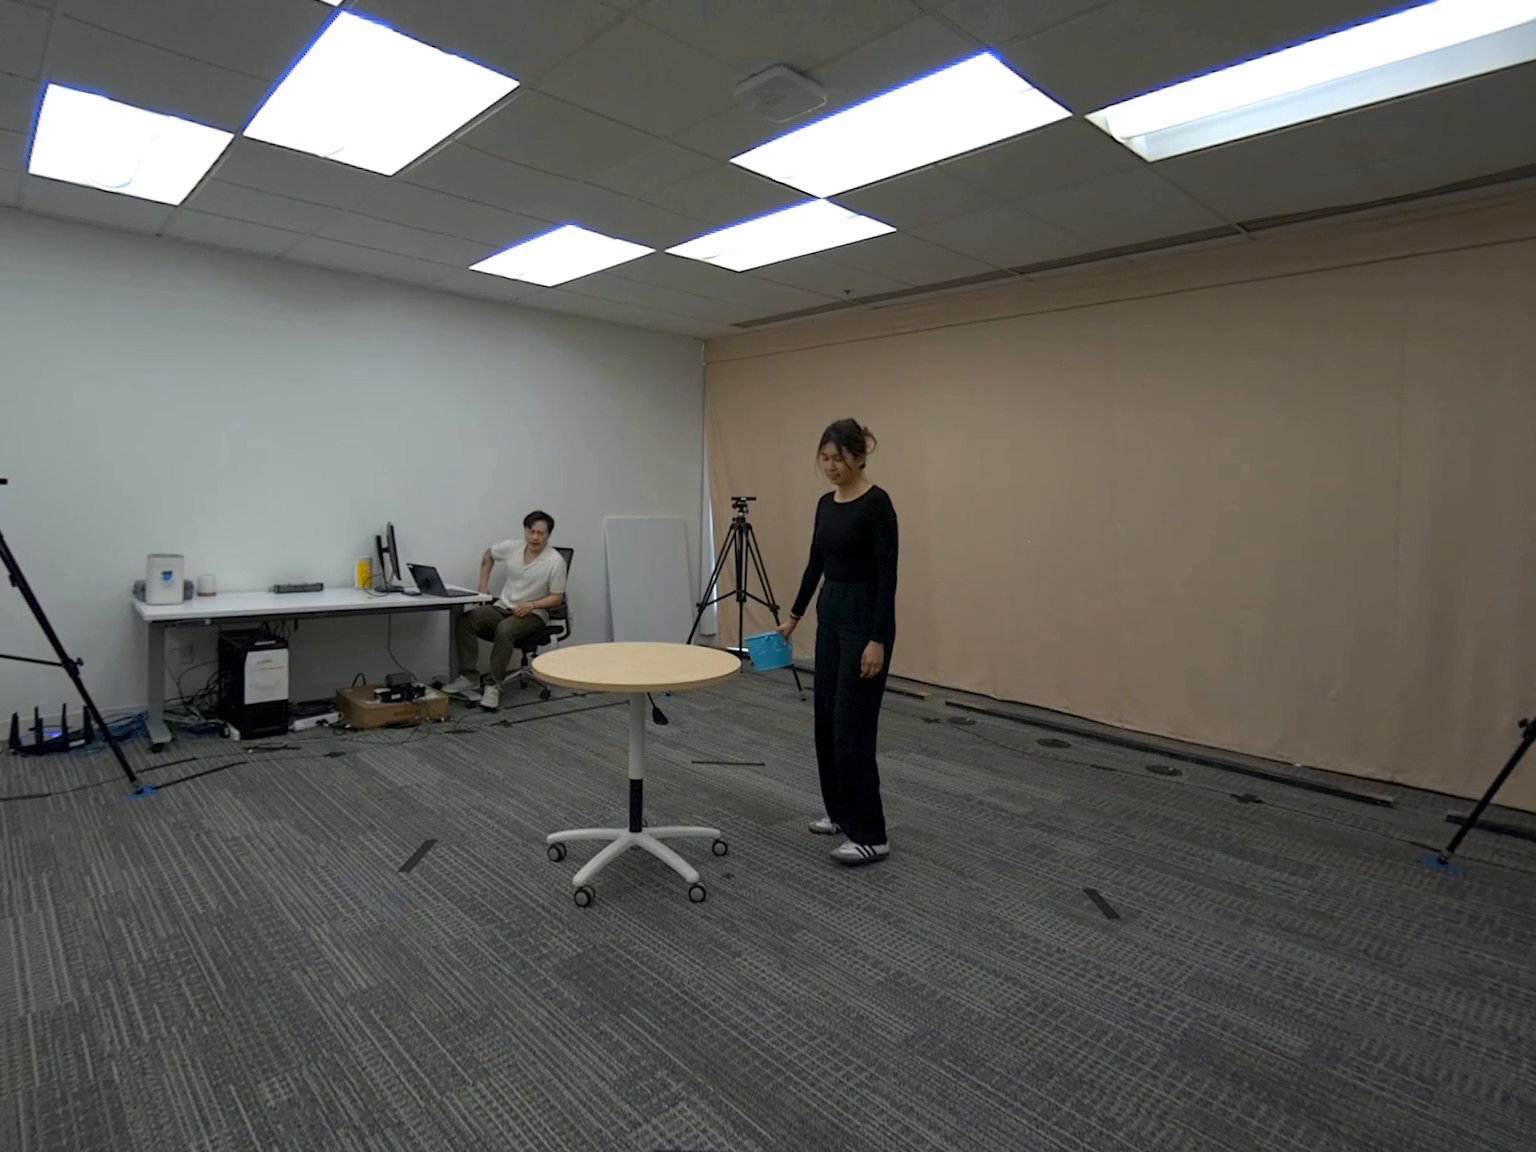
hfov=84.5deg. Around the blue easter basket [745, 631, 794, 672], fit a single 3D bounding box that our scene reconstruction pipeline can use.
[{"bbox_3d":[0.032,0.336,3.828,0.243,0.156,0.243,-4,-1,-1],"label":"blue easter basket"}]
